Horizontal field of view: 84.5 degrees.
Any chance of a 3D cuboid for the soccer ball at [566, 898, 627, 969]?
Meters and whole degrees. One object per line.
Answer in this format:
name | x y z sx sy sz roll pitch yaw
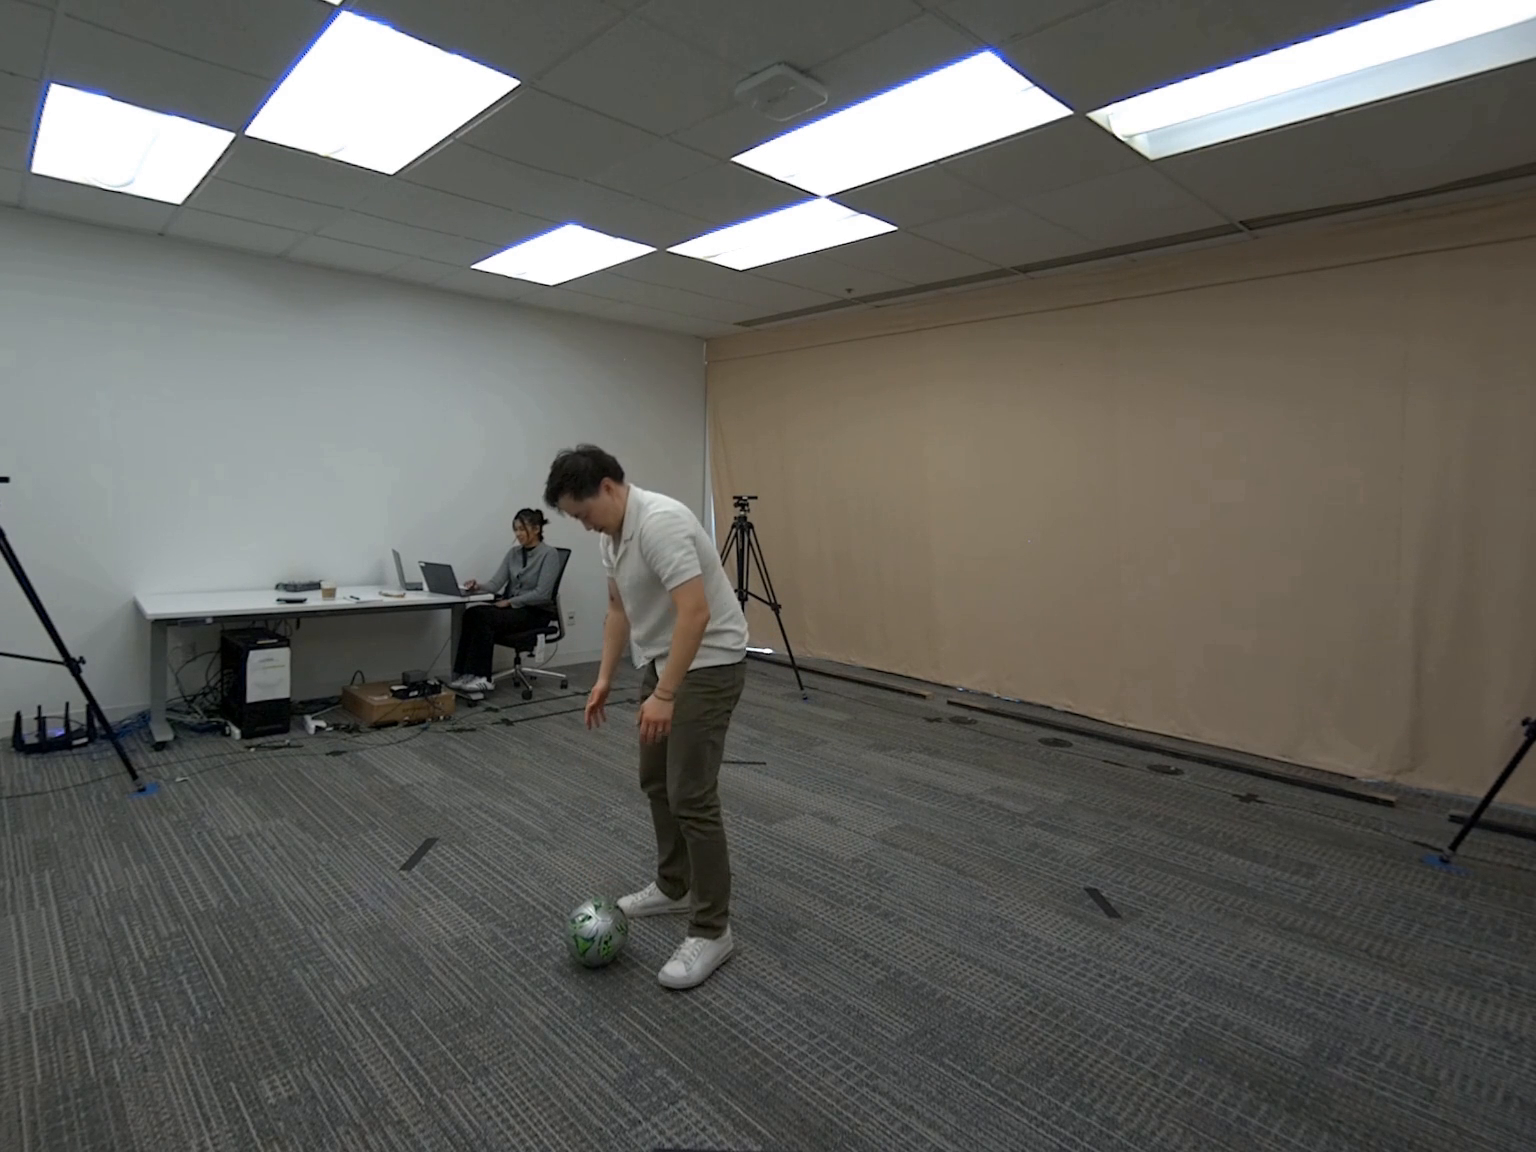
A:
soccer ball | -0.511 1.056 2.500 0.187 0.187 0.188 1 4 -1
